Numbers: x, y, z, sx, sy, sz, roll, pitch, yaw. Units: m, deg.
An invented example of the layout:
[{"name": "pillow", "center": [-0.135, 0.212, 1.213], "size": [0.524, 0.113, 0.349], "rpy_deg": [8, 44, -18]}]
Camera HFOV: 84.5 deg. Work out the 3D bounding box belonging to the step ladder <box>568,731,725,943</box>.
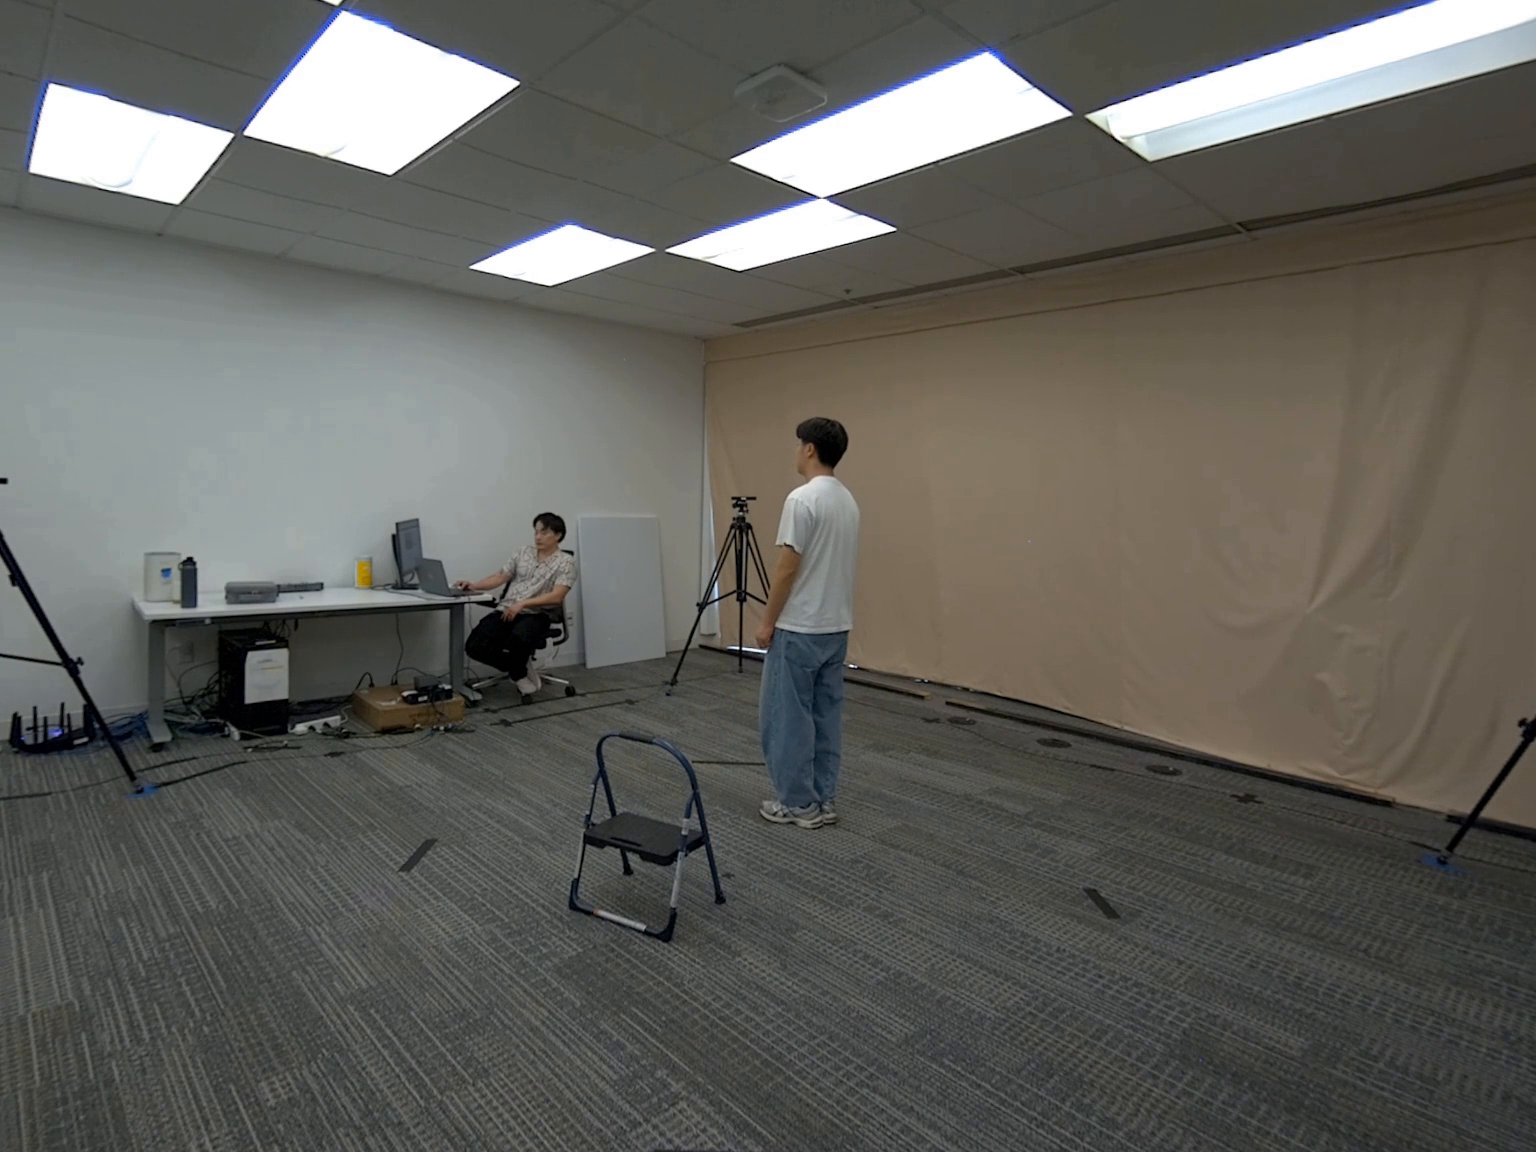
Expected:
[{"name": "step ladder", "center": [-0.412, 0.820, 2.856], "size": [0.440, 0.605, 0.342], "rpy_deg": [3, 3, 29]}]
